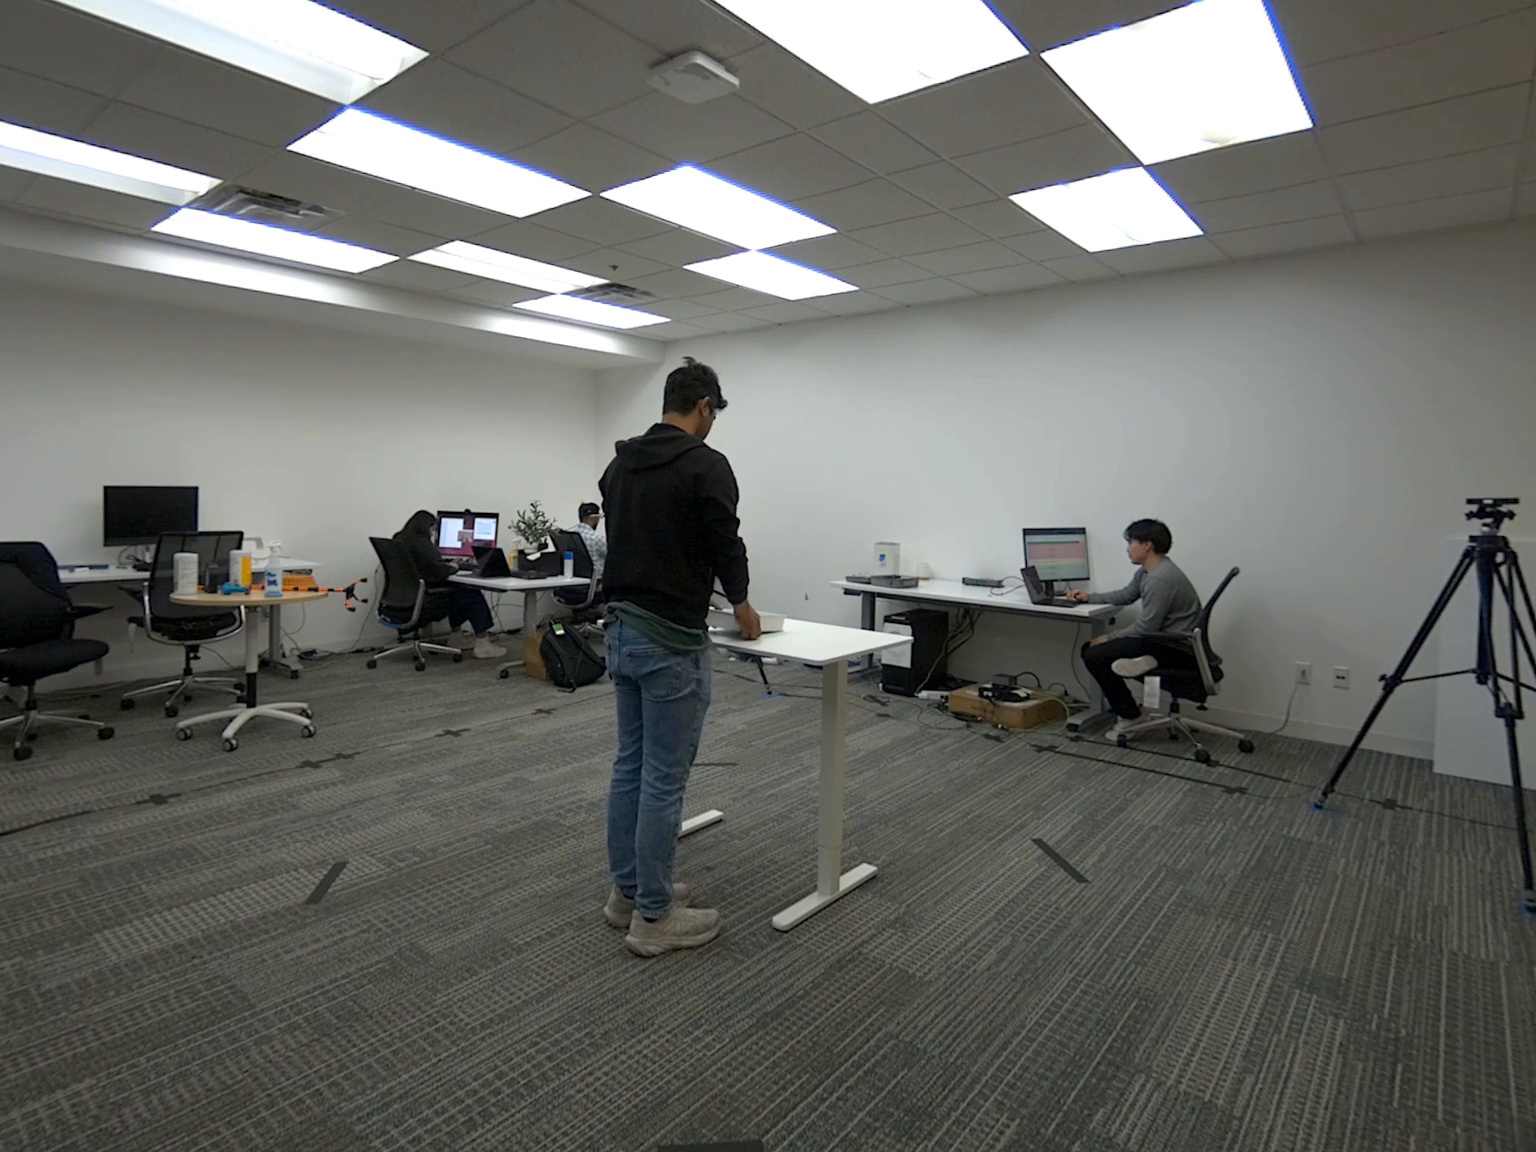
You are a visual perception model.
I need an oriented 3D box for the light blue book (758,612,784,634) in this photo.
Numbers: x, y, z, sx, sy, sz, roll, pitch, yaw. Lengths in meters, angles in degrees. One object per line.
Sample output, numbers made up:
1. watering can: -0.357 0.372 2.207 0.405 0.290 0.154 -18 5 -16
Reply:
1. light blue book: -0.078 0.158 3.021 0.197 0.059 0.253 6 3 30
